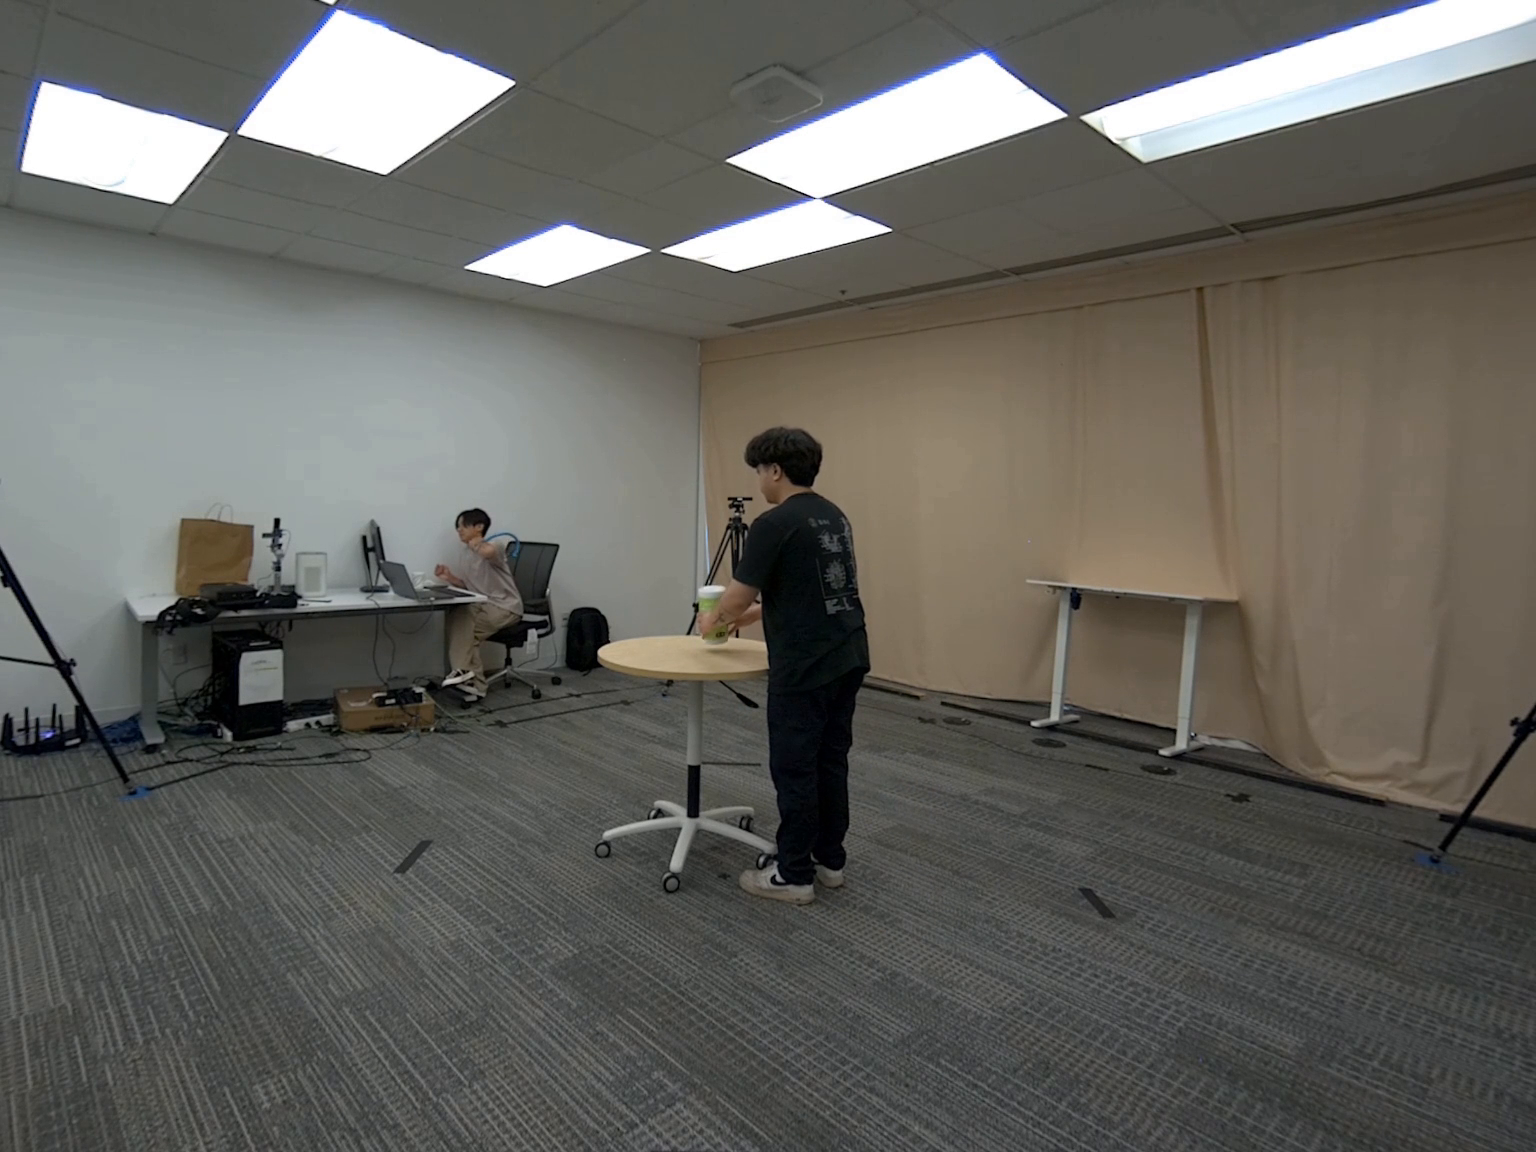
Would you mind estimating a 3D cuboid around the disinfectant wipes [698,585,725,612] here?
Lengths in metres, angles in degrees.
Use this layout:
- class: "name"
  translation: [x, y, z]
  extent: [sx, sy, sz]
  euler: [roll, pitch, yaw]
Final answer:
- class: "disinfectant wipes"
  translation: [-0.219, 0.153, 3.293]
  extent: [0.118, 0.216, 0.118]
  euler: [-3, 5, -1]
